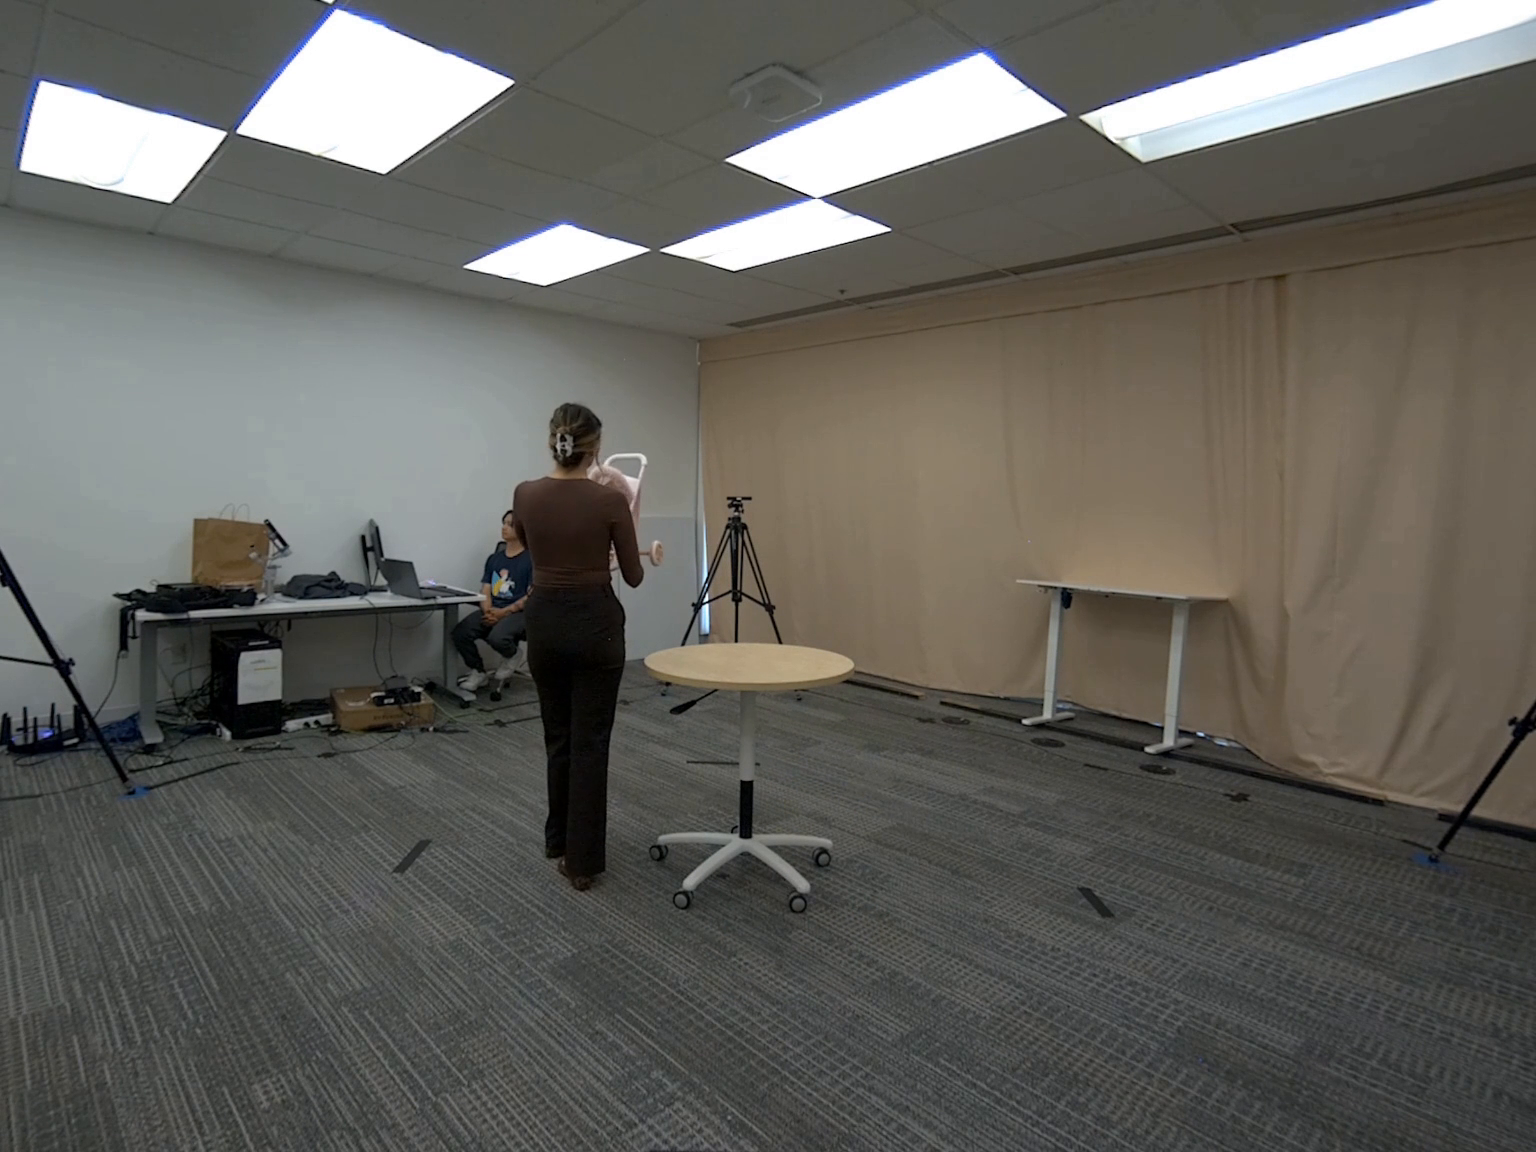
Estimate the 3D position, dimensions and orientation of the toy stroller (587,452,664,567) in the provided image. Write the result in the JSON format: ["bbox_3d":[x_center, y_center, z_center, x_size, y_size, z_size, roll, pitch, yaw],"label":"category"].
[{"bbox_3d":[-0.654,-0.228,3.516,0.287,0.531,0.337,2,11,24],"label":"toy stroller"}]
